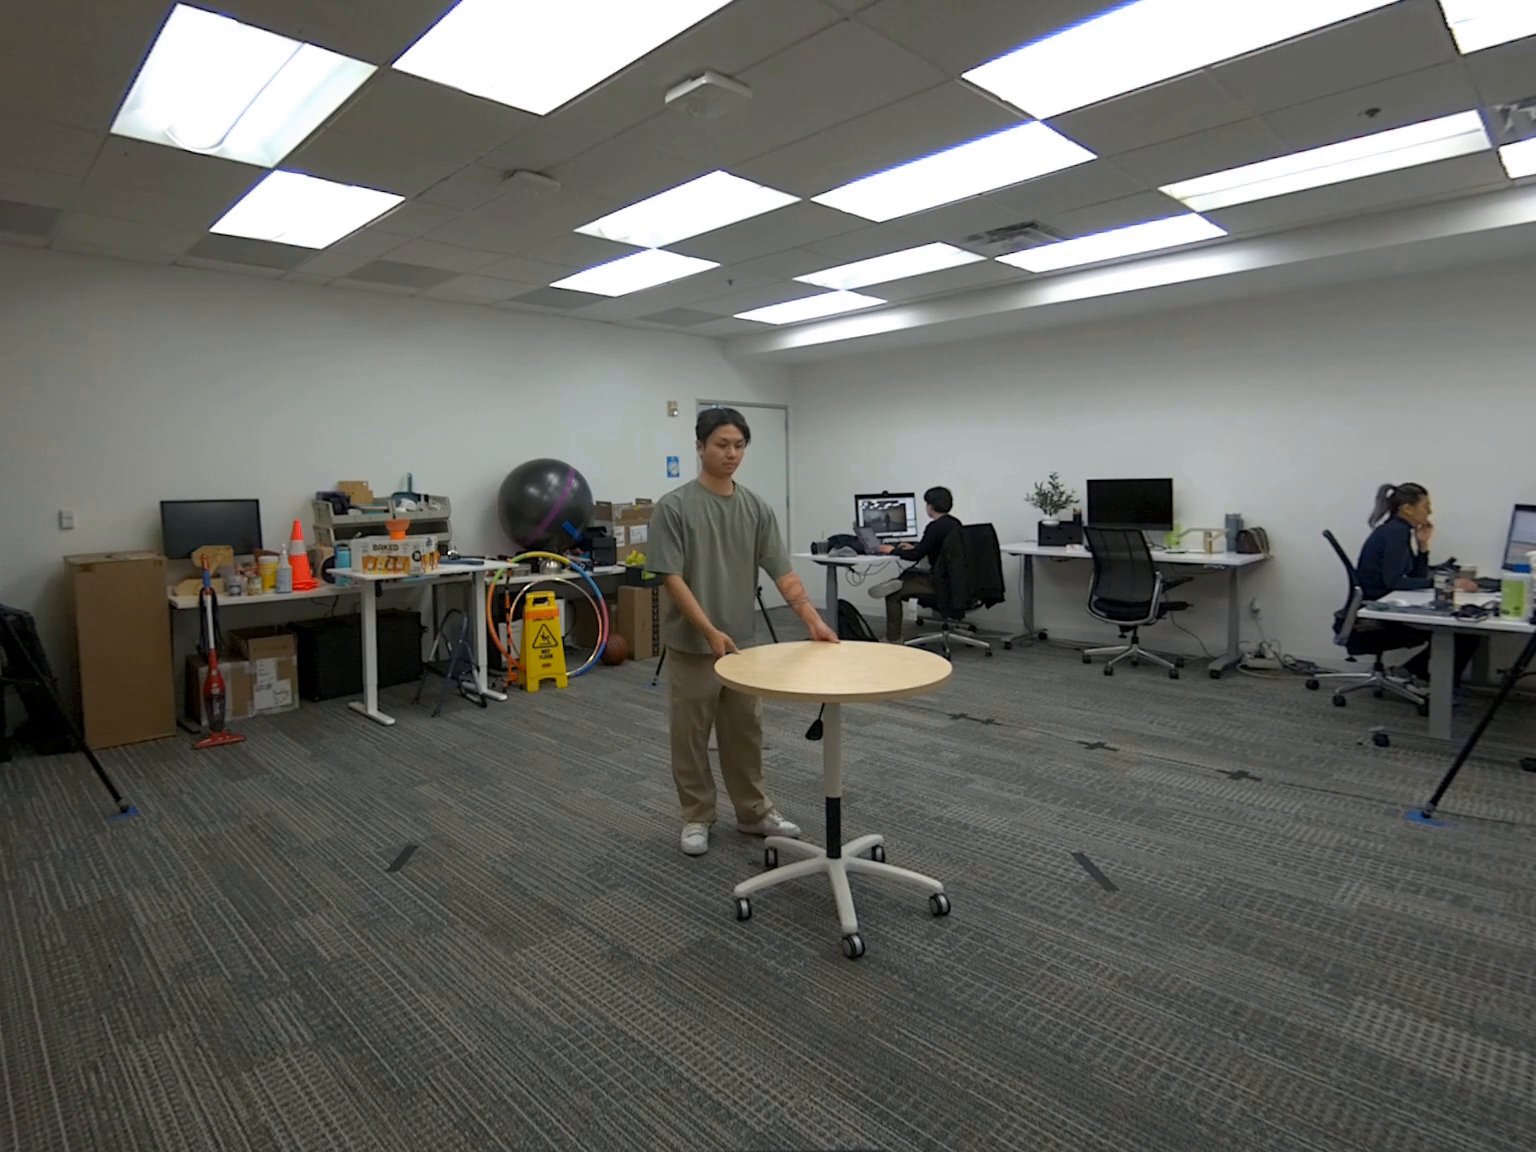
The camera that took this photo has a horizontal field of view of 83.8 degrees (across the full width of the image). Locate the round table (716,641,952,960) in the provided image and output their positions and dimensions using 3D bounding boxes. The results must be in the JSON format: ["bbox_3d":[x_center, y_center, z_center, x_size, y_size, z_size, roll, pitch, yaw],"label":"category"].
[{"bbox_3d":[0.234,0.676,2.826,0.784,0.783,0.789,-1,5,-2],"label":"round table"}]
